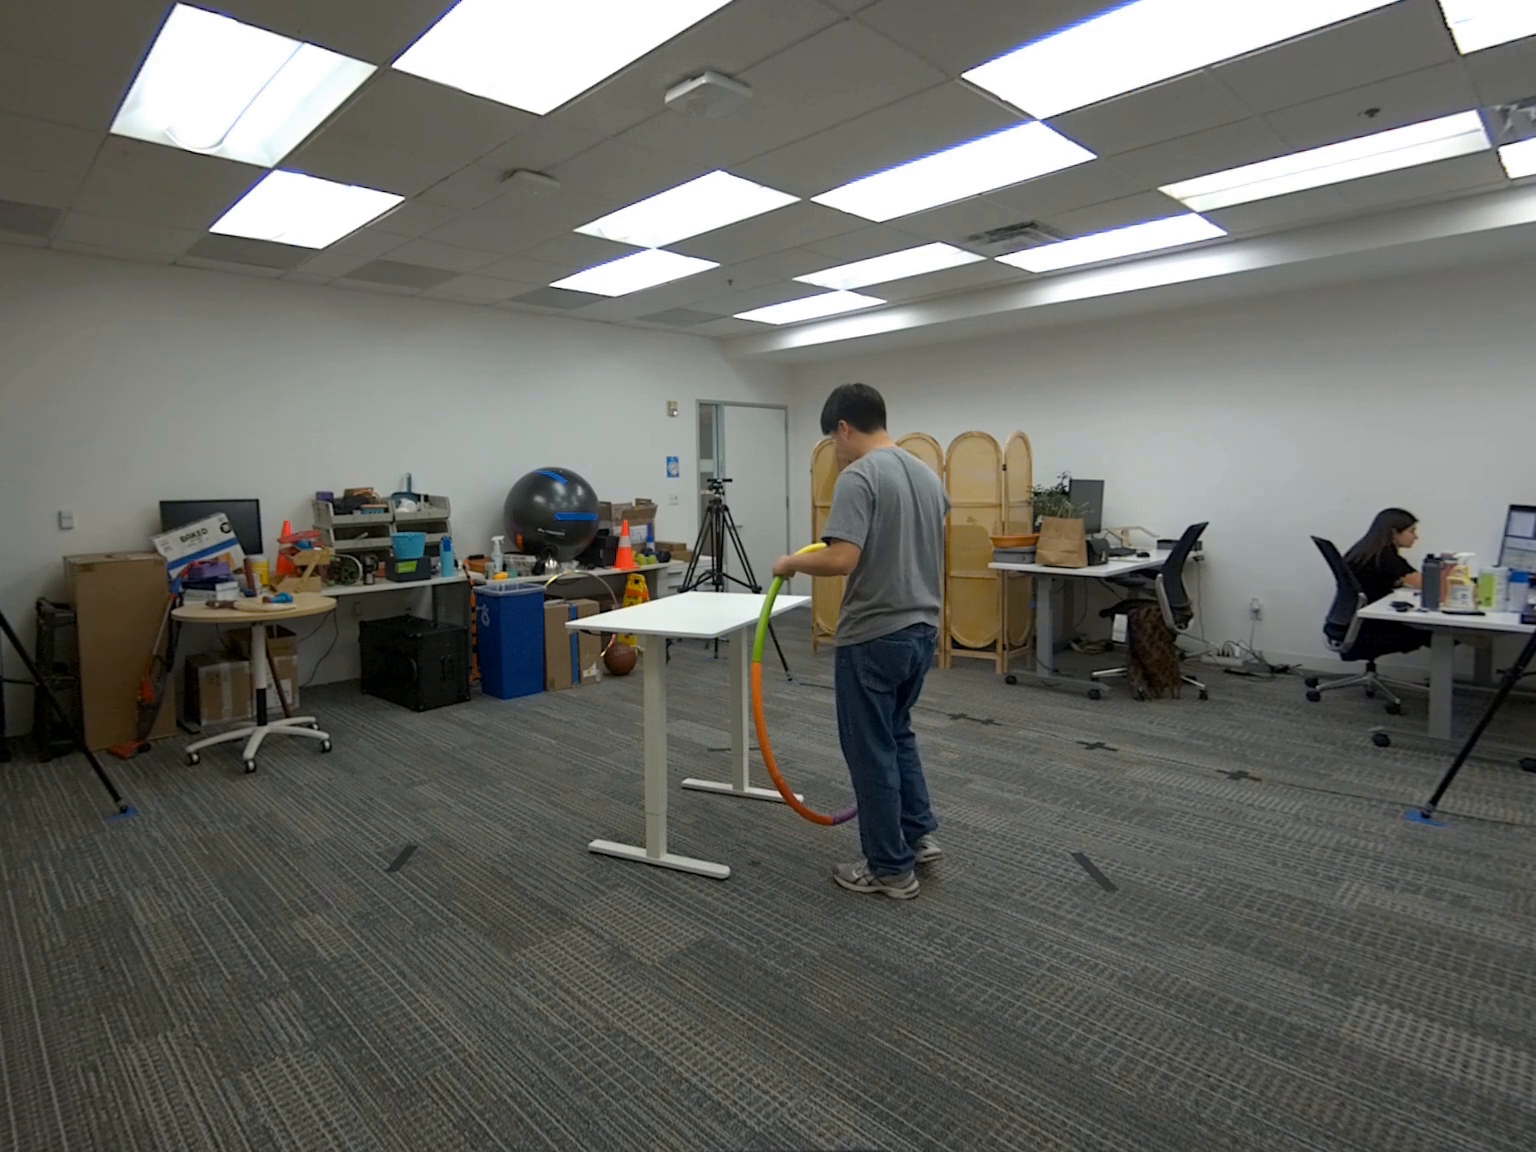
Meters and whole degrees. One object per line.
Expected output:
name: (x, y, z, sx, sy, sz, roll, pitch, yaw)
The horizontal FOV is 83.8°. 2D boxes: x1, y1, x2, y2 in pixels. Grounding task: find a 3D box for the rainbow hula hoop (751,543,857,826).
rainbow hula hoop: (0.231, 0.378, 3.075, 0.036, 0.980, 0.954, -8, -1, 36)
